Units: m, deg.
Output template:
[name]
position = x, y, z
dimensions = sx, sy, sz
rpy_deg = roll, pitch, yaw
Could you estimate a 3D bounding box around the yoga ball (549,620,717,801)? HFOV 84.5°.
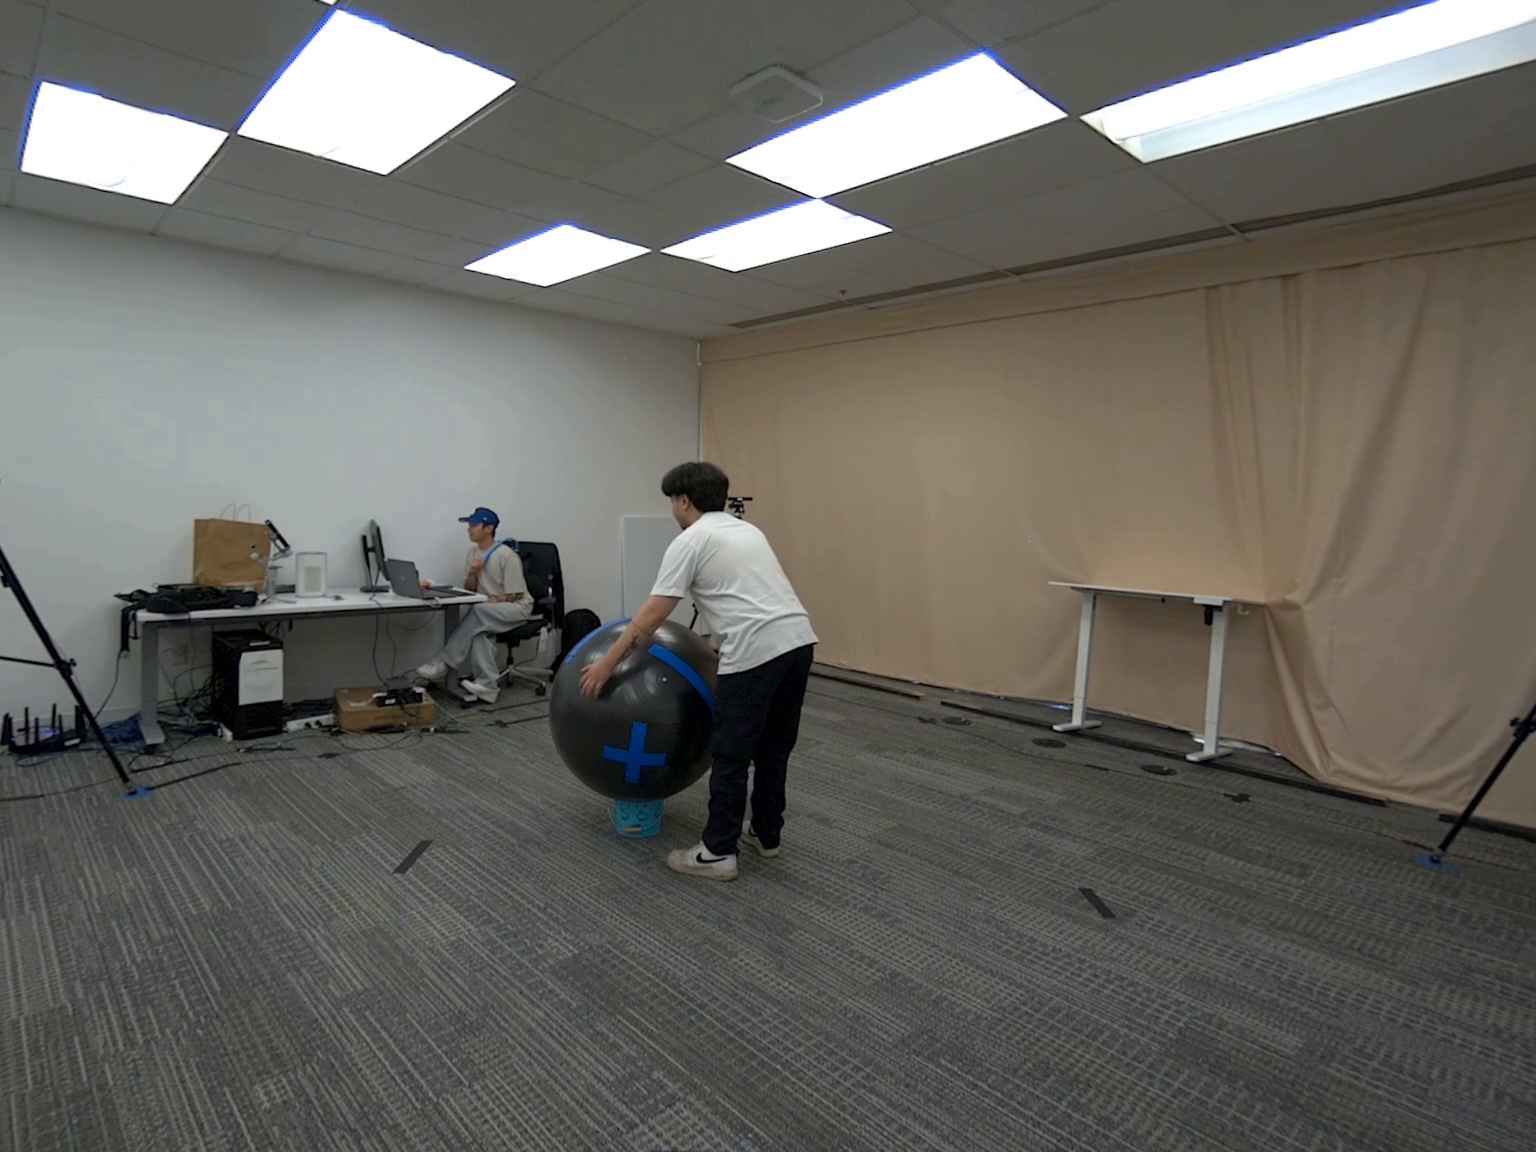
[yoga ball]
position = -0.538, 0.555, 3.516
dimensions = 0.757, 0.756, 0.760
rpy_deg = 1, 4, -1
